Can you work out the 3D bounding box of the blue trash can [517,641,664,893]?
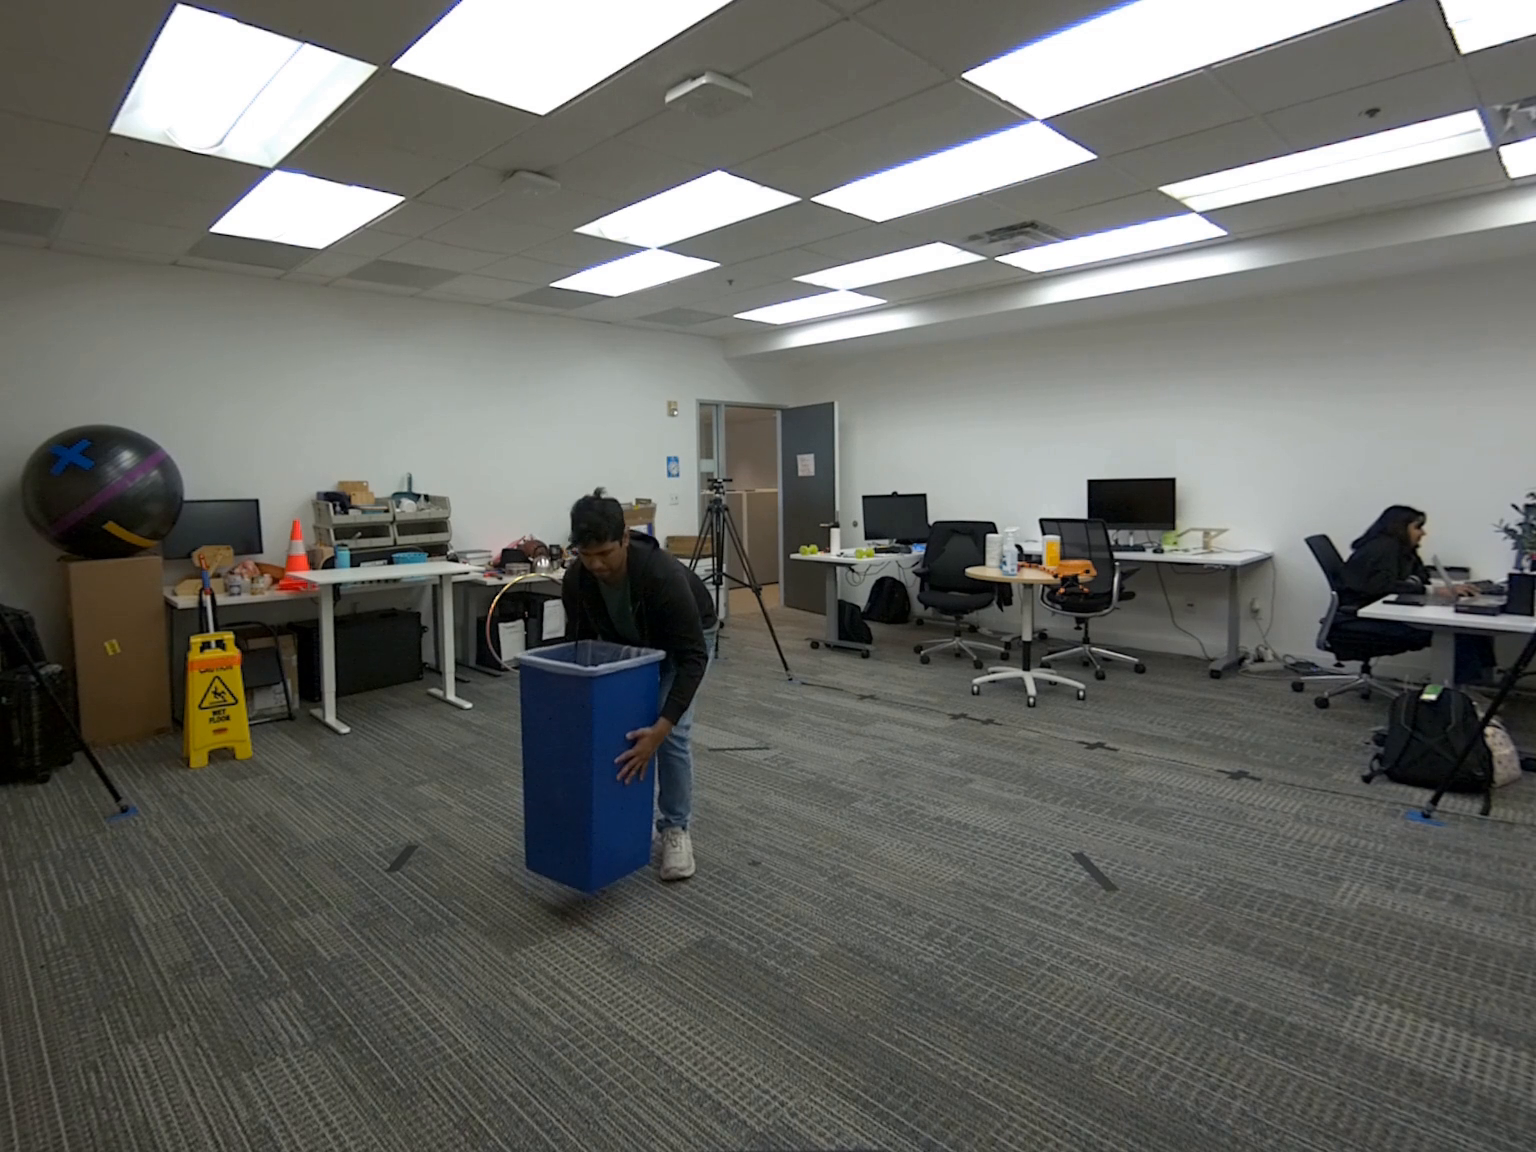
[{"bbox_3d":[-0.594,0.608,2.817,0.389,0.712,0.364,3,3,33],"label":"blue trash can"}]
